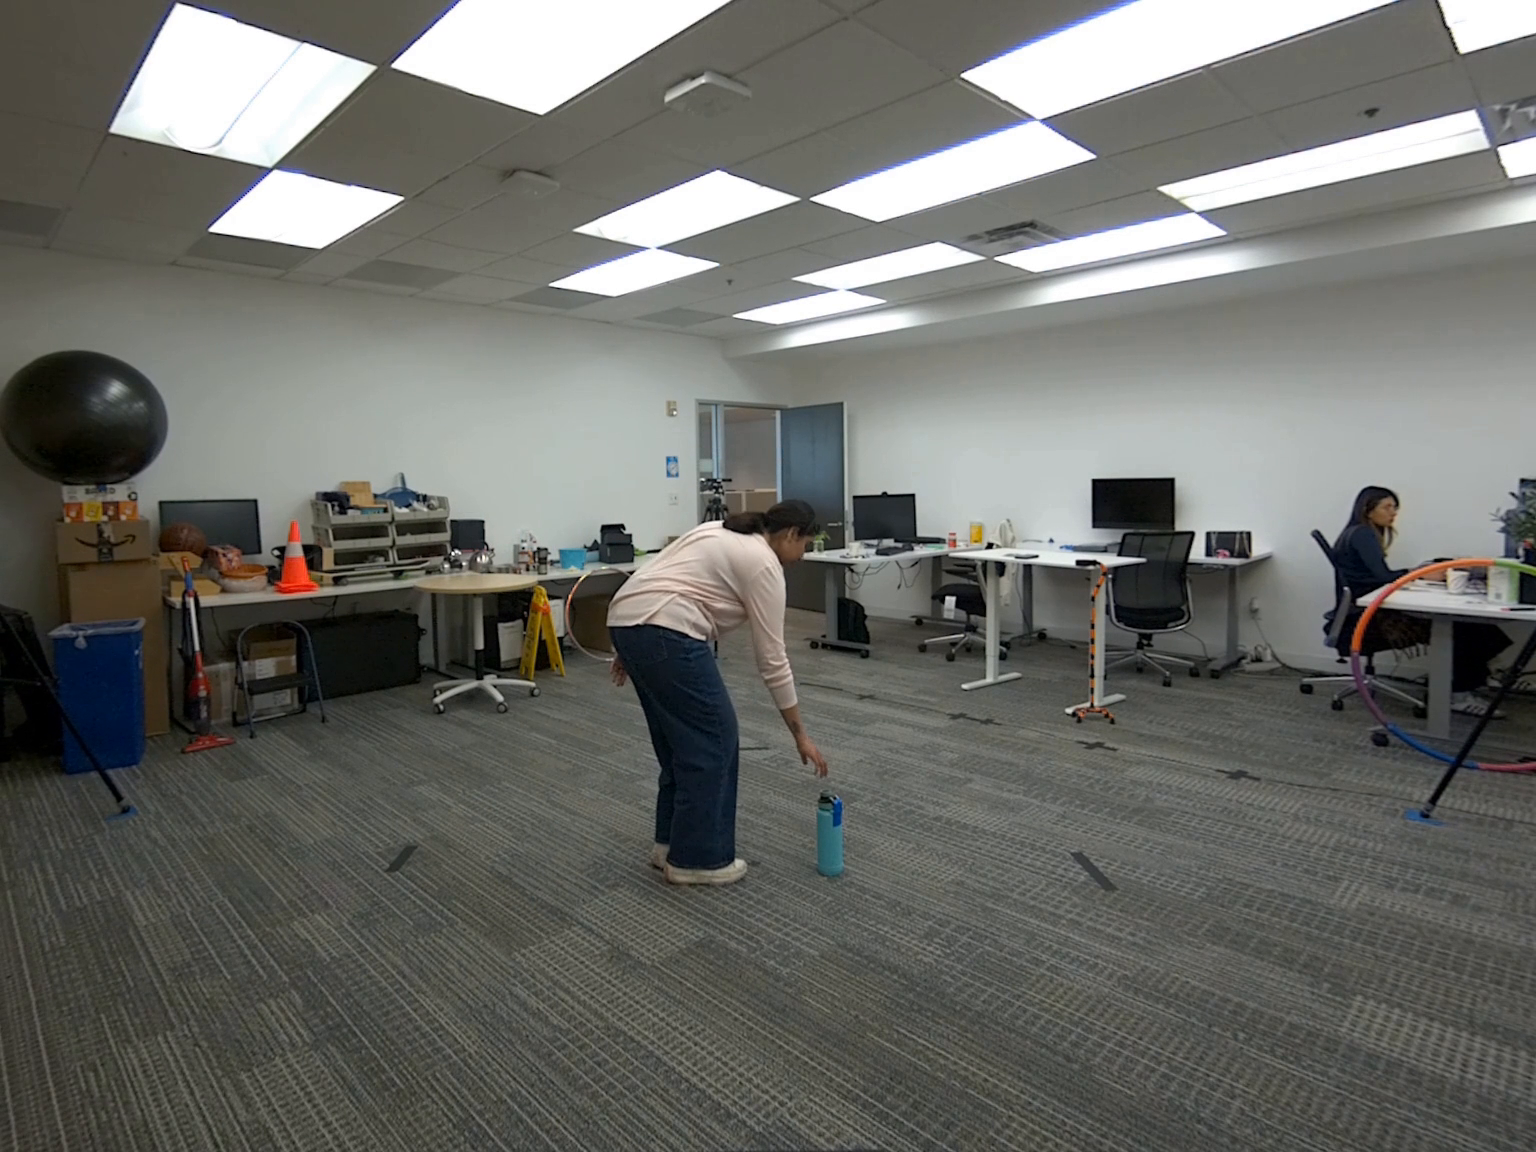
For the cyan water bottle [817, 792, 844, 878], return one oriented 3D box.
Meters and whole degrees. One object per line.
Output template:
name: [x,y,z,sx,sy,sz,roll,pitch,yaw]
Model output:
cyan water bottle: [0.218,0.904,3.024,0.092,0.282,0.093,0,4,-2]
